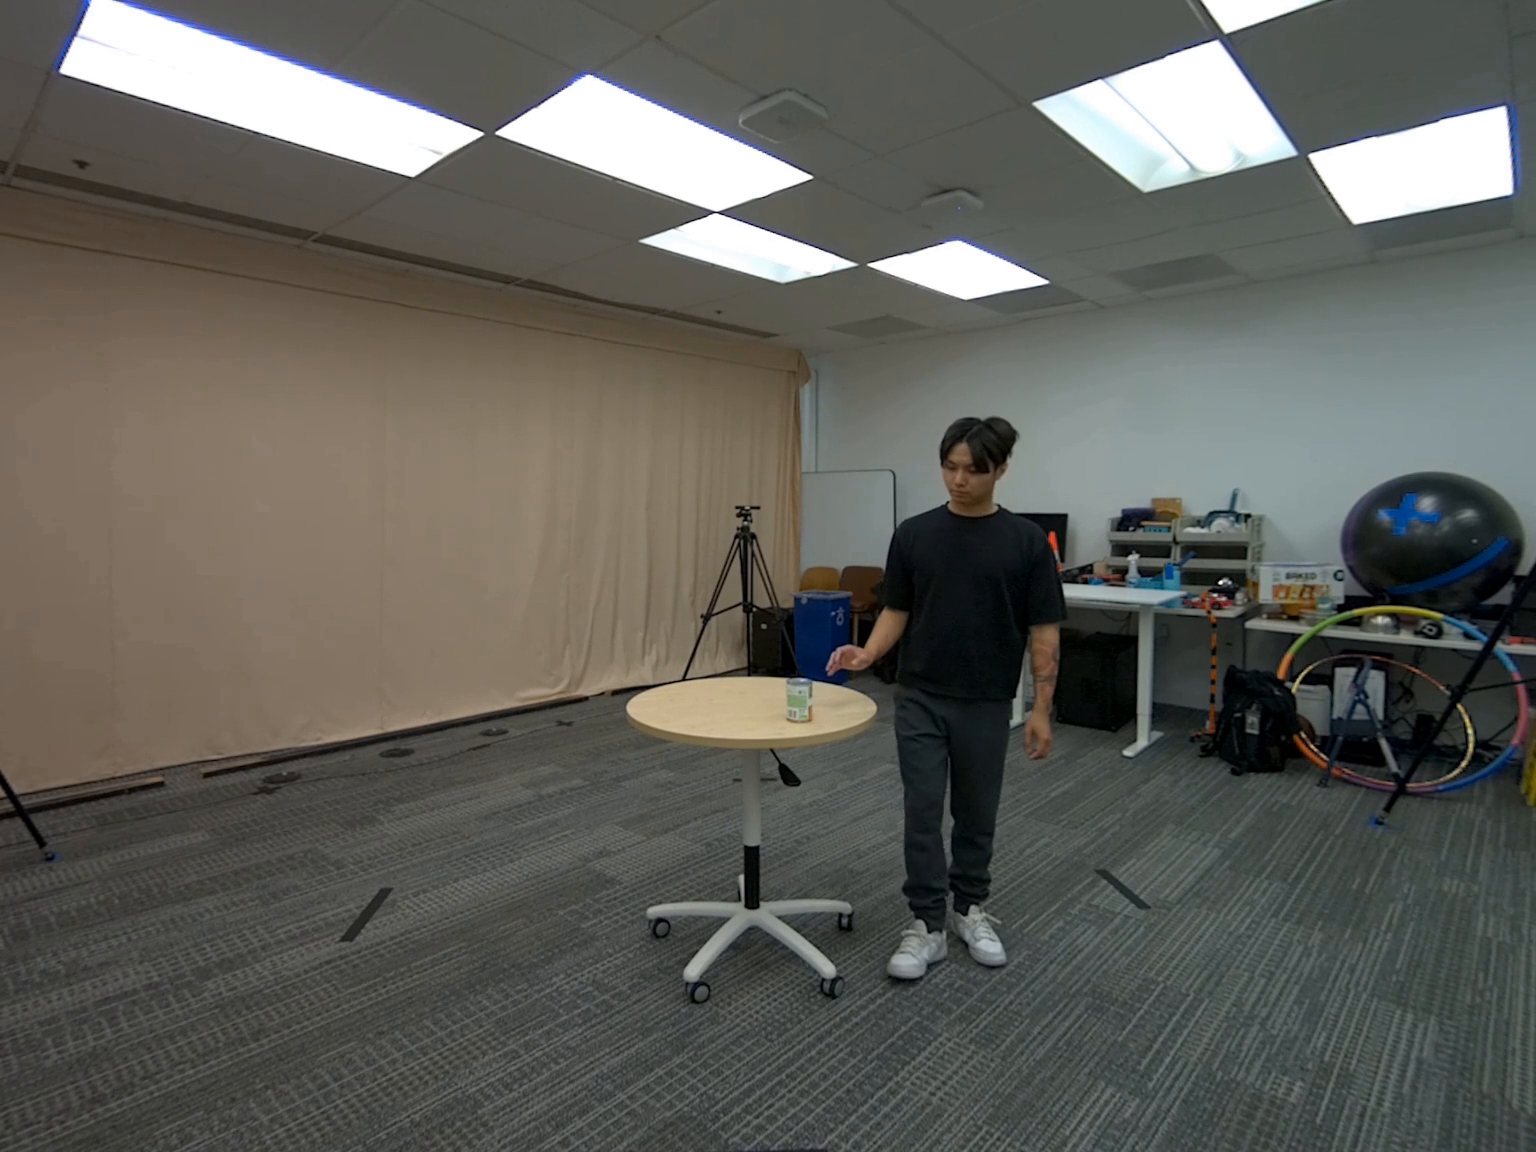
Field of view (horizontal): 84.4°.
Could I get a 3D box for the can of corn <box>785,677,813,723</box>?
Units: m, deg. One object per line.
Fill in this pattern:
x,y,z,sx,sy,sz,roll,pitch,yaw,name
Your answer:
0.099,0.358,2.398,0.074,0.111,0.074,-1,2,-2,can of corn
